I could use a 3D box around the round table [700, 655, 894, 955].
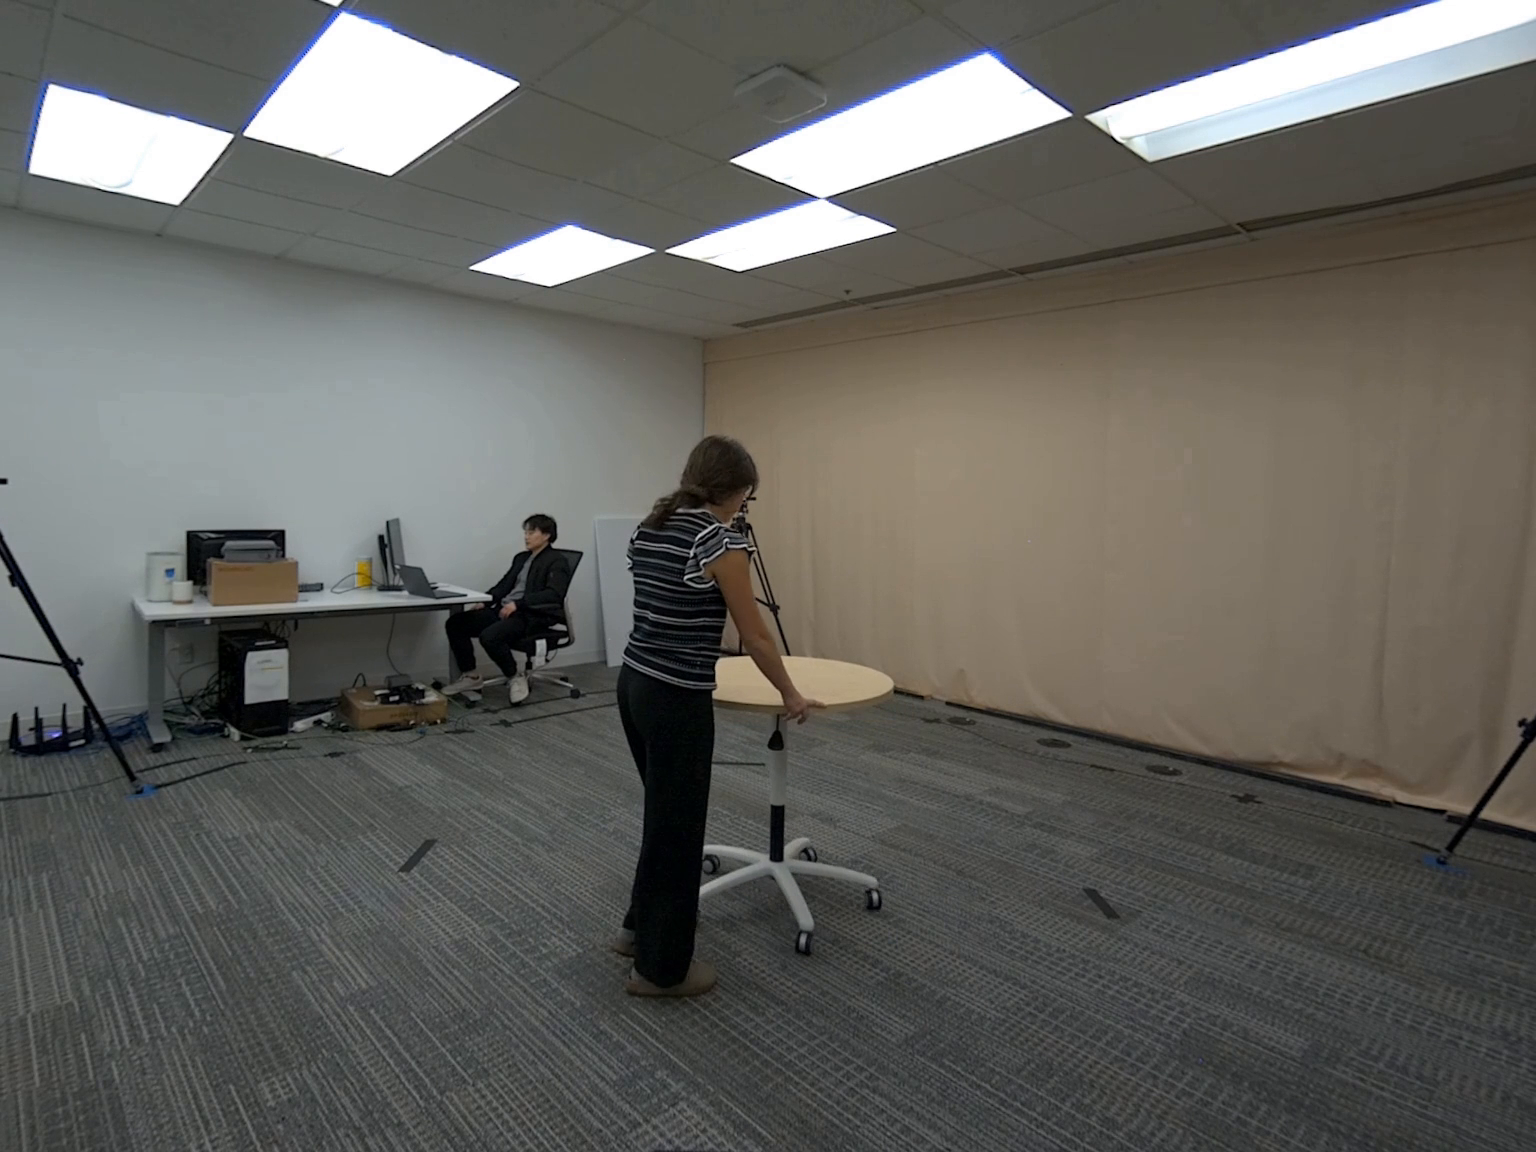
[{"bbox_3d":[0.029,0.741,2.913,0.763,0.792,0.766,1,4,-1],"label":"round table"}]
